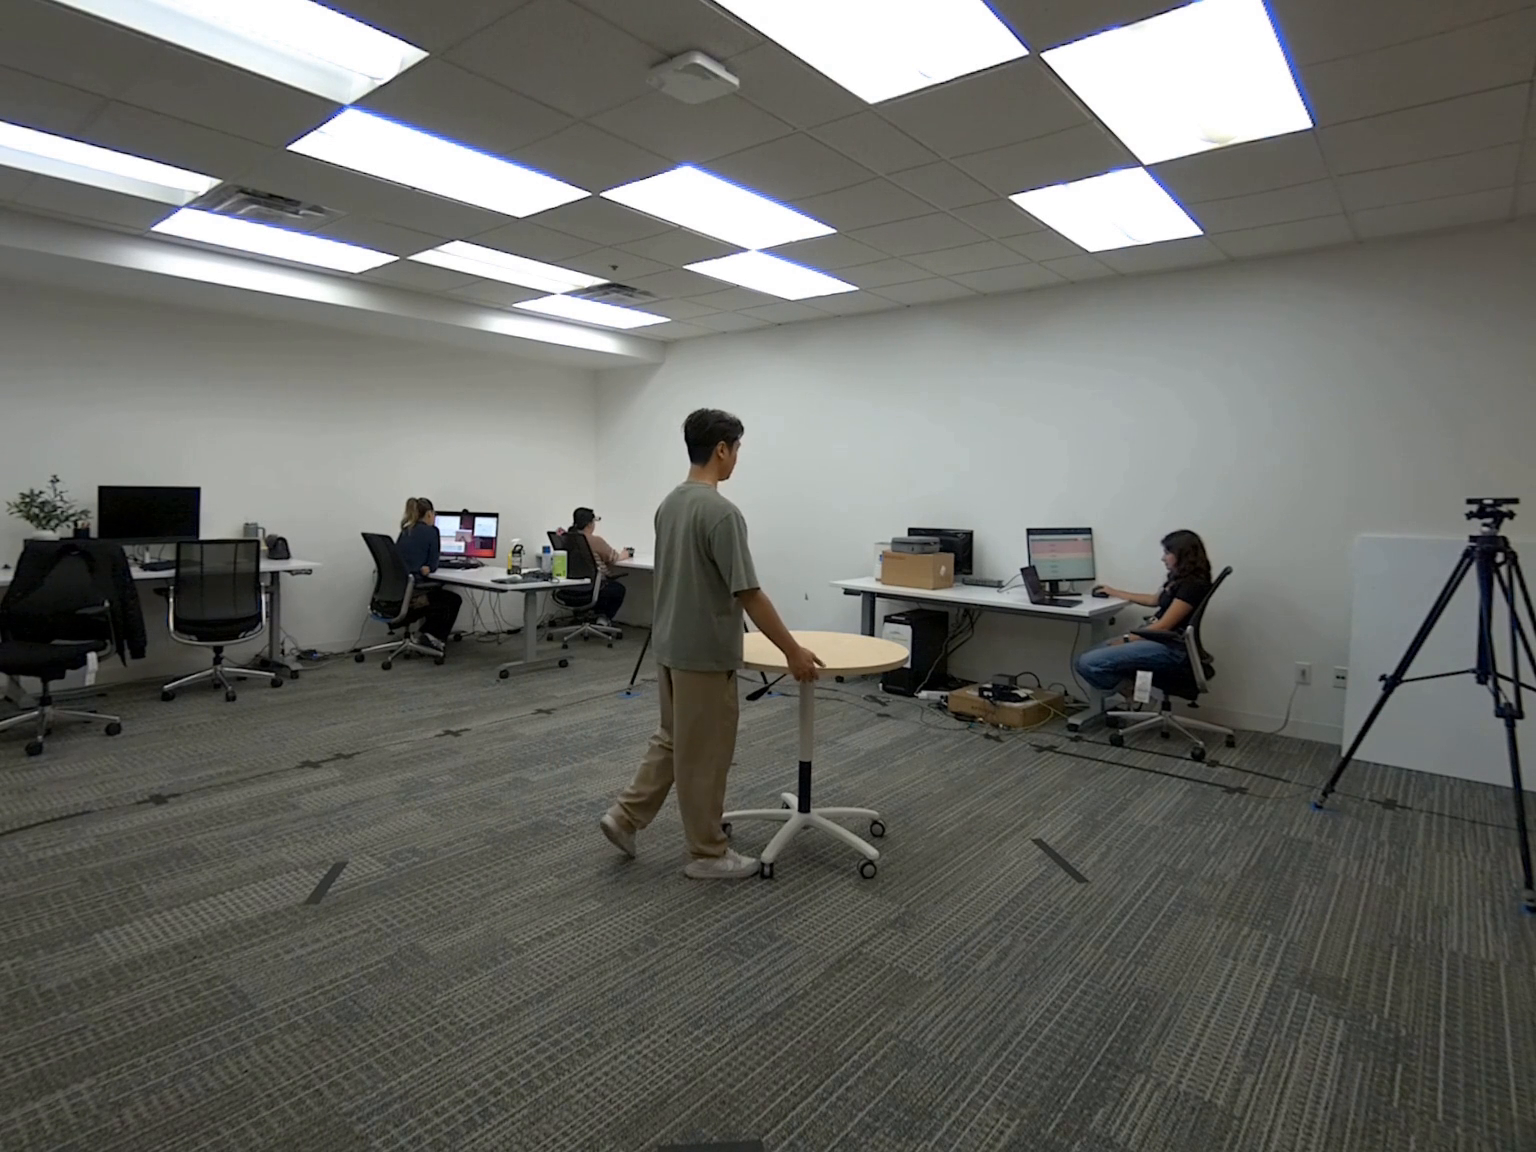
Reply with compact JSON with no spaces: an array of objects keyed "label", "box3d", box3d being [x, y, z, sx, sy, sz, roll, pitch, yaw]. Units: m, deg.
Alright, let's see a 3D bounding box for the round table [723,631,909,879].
[{"label":"round table","box3d":[0.157,0.662,3.305,0.784,0.784,0.789,0,5,-2]}]
